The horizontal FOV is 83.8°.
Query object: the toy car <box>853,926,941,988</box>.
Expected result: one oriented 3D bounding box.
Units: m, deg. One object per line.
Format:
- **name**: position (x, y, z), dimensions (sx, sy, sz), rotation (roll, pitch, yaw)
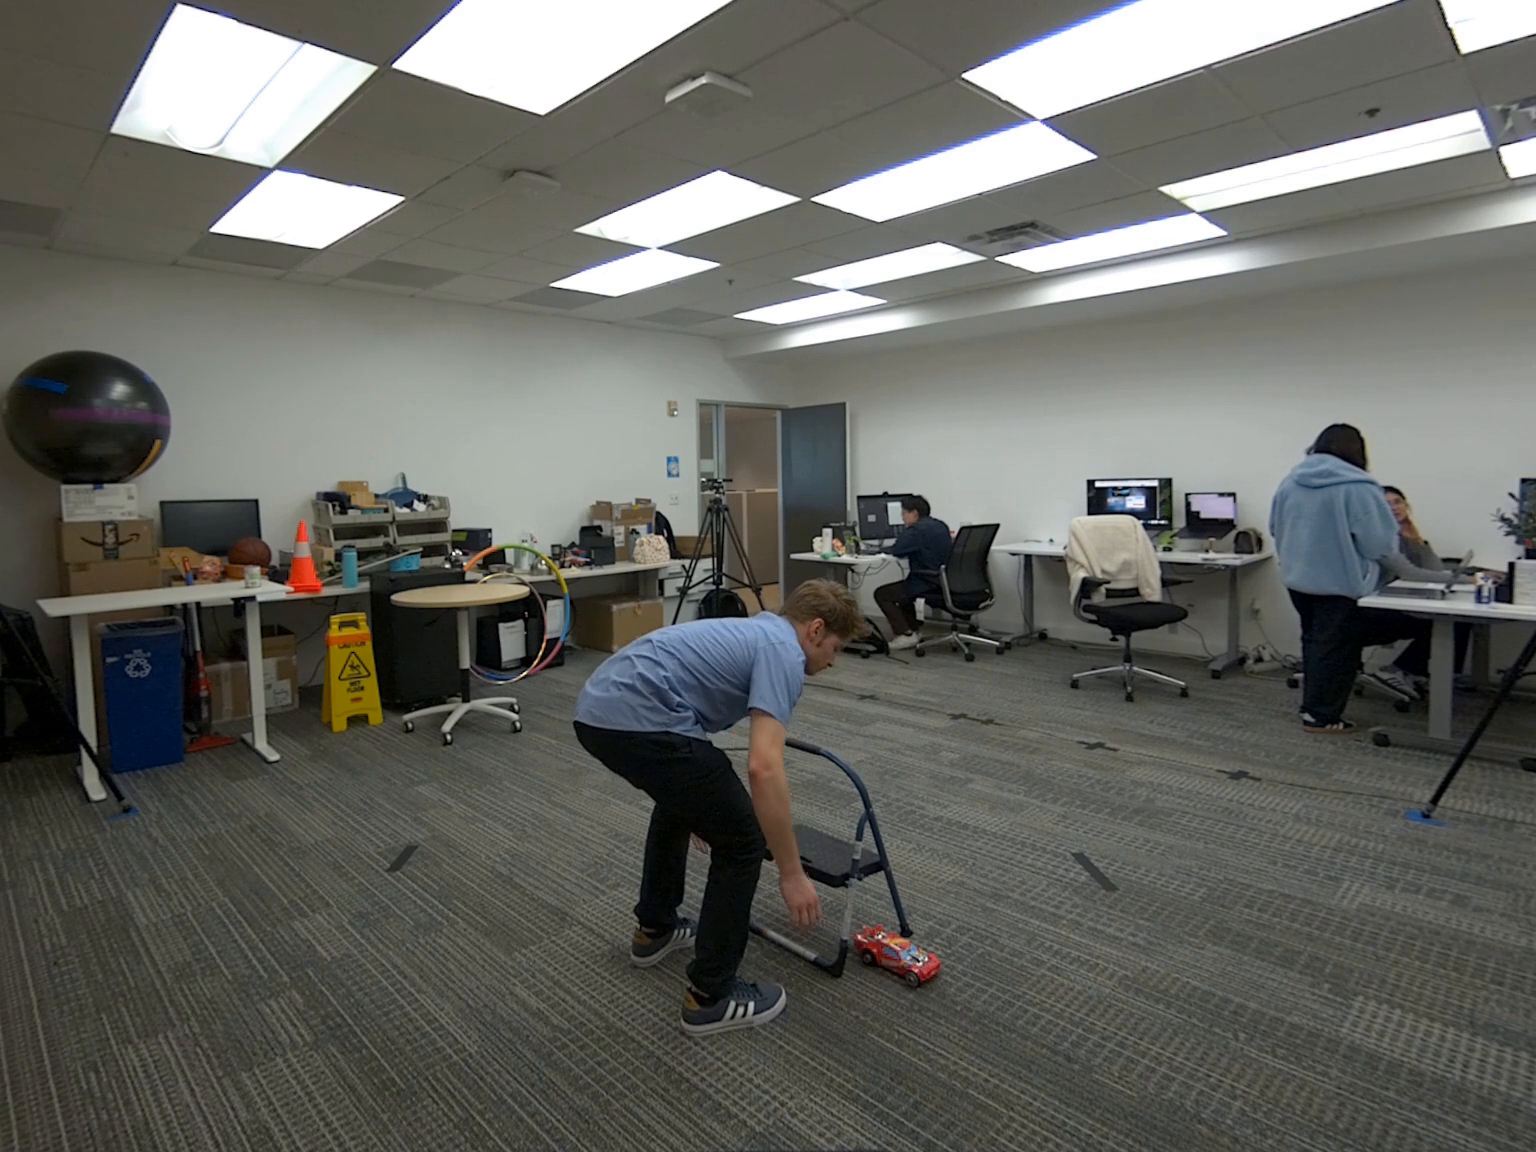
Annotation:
- **toy car**: position (0.372, 1.087, 2.436), dimensions (0.127, 0.082, 0.264), rotation (-7, 19, -44)
